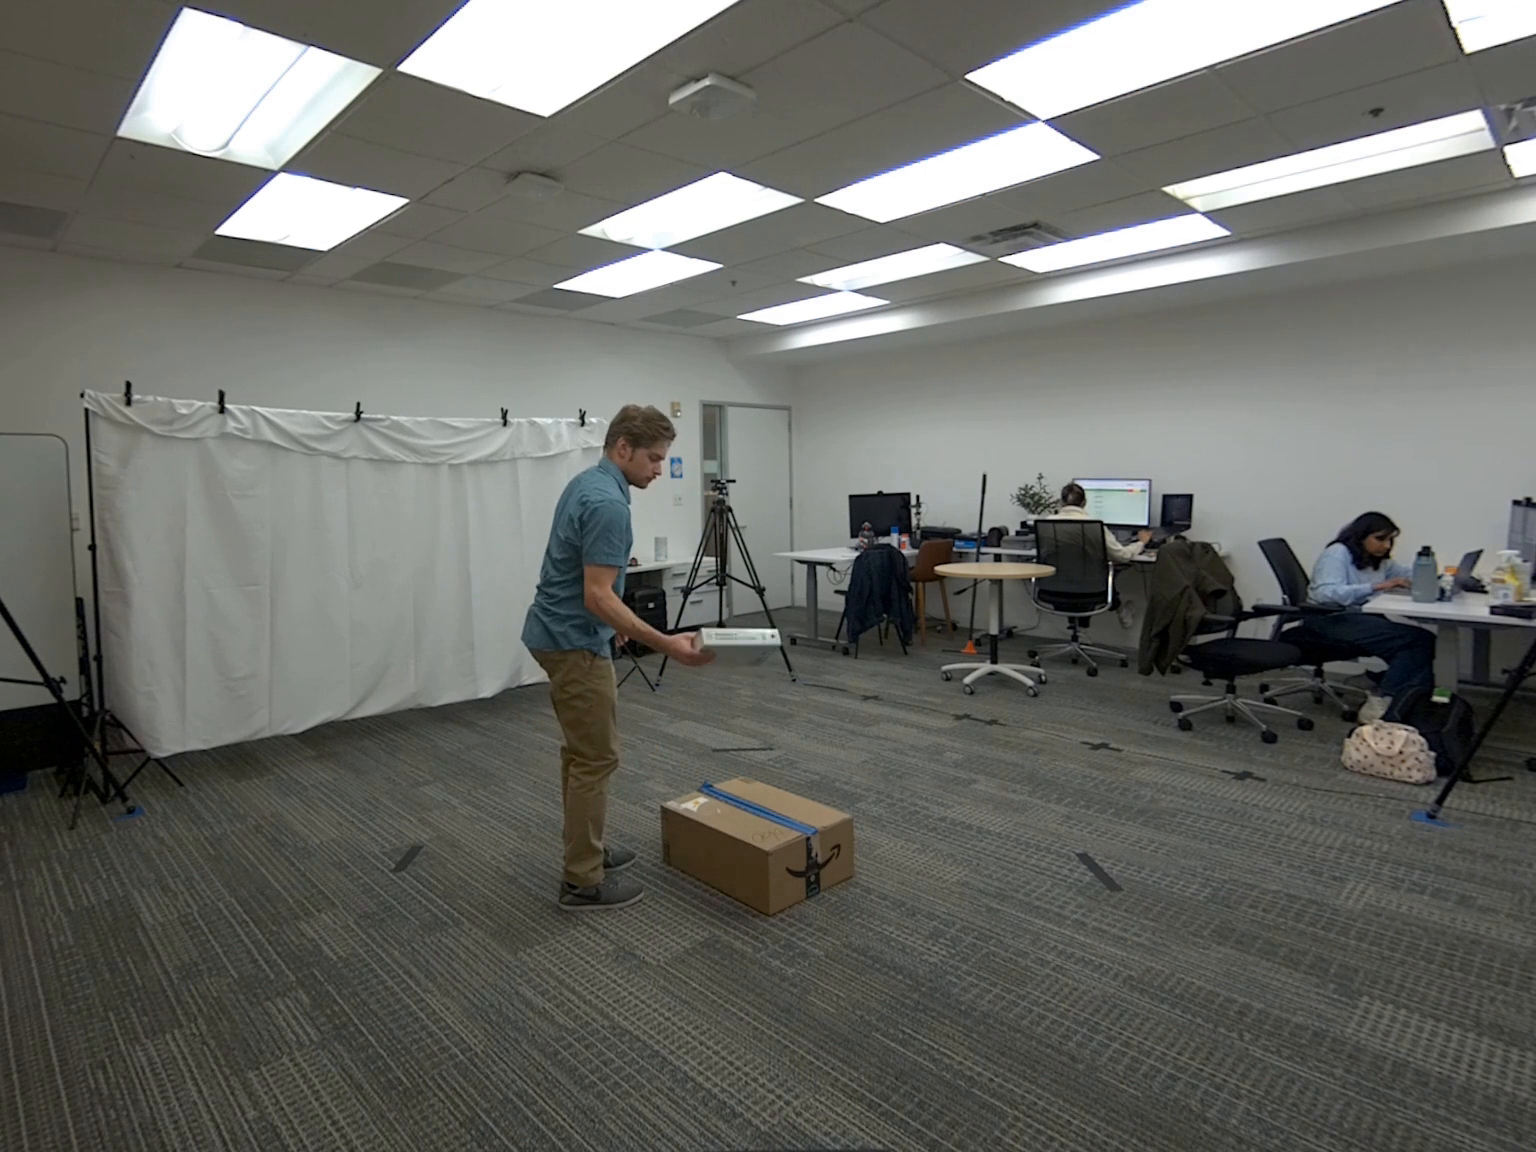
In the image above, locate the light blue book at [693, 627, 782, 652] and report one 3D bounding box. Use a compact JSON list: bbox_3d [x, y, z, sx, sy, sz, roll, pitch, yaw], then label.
[{"bbox_3d":[-0.125,0.229,2.699,0.255,0.060,0.191,2,-27,-23],"label":"light blue book"}]
